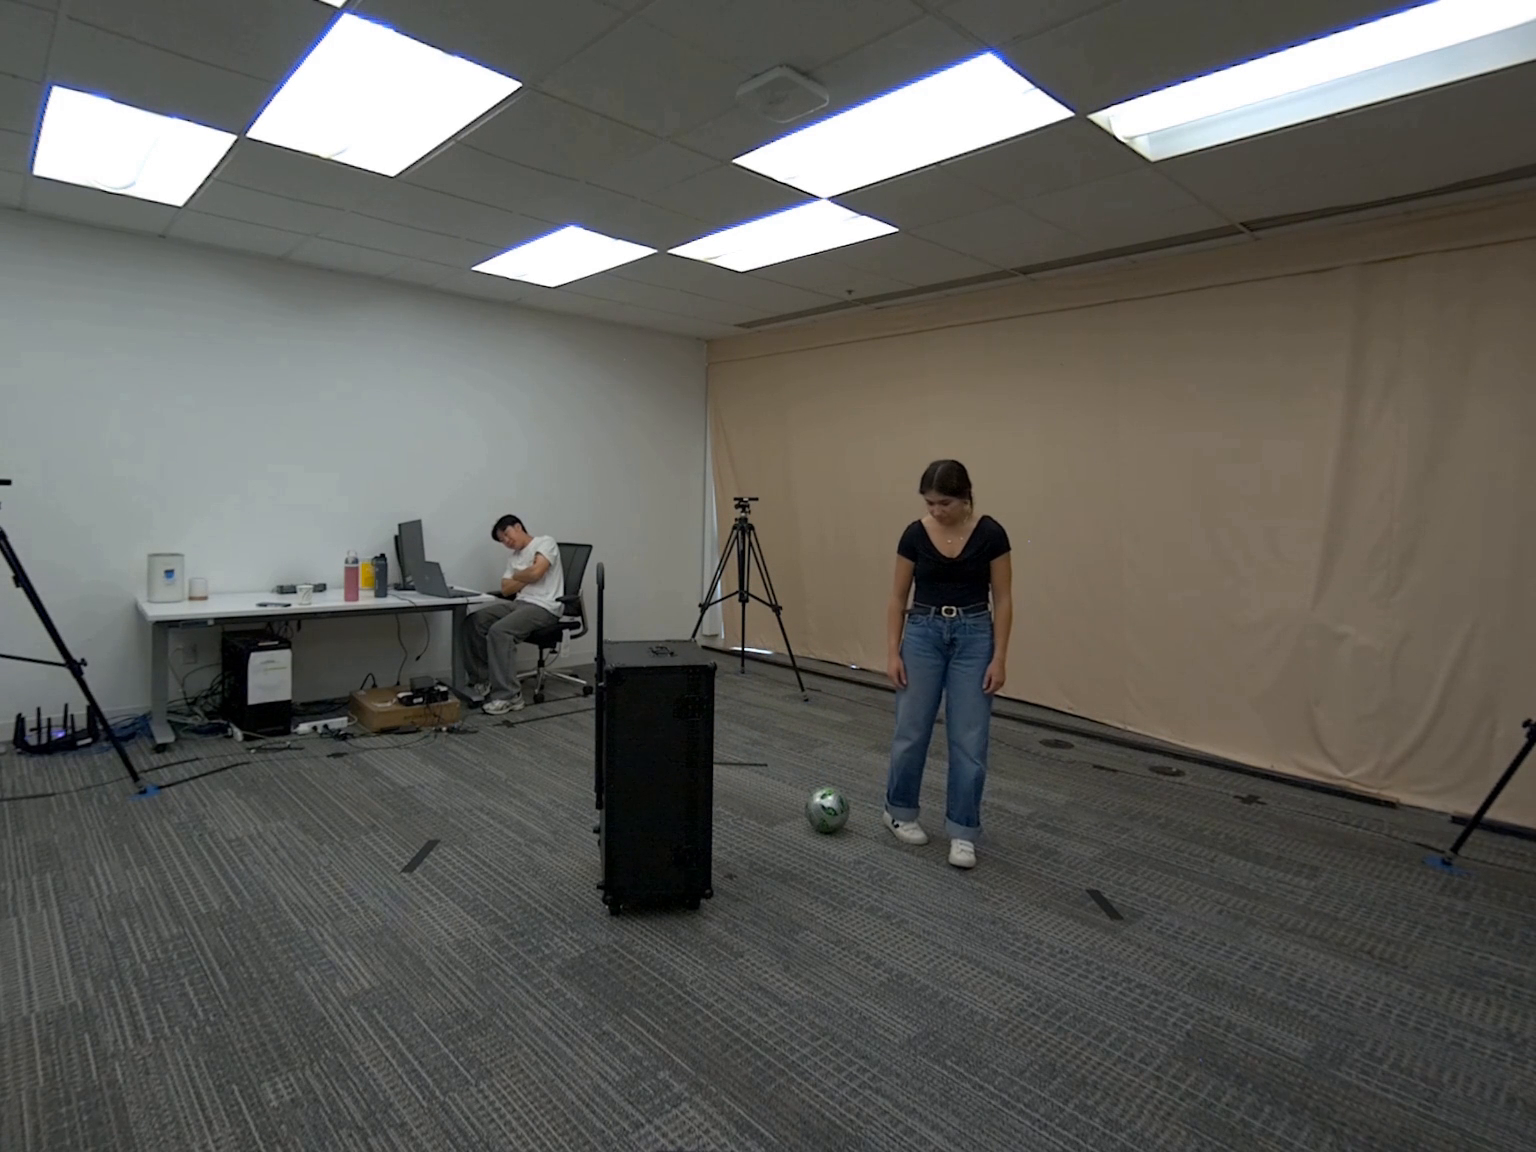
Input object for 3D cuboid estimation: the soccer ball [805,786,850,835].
[{"bbox_3d":[0.242,0.982,3.557,0.187,0.187,0.188,1,4,-1],"label":"soccer ball"}]
